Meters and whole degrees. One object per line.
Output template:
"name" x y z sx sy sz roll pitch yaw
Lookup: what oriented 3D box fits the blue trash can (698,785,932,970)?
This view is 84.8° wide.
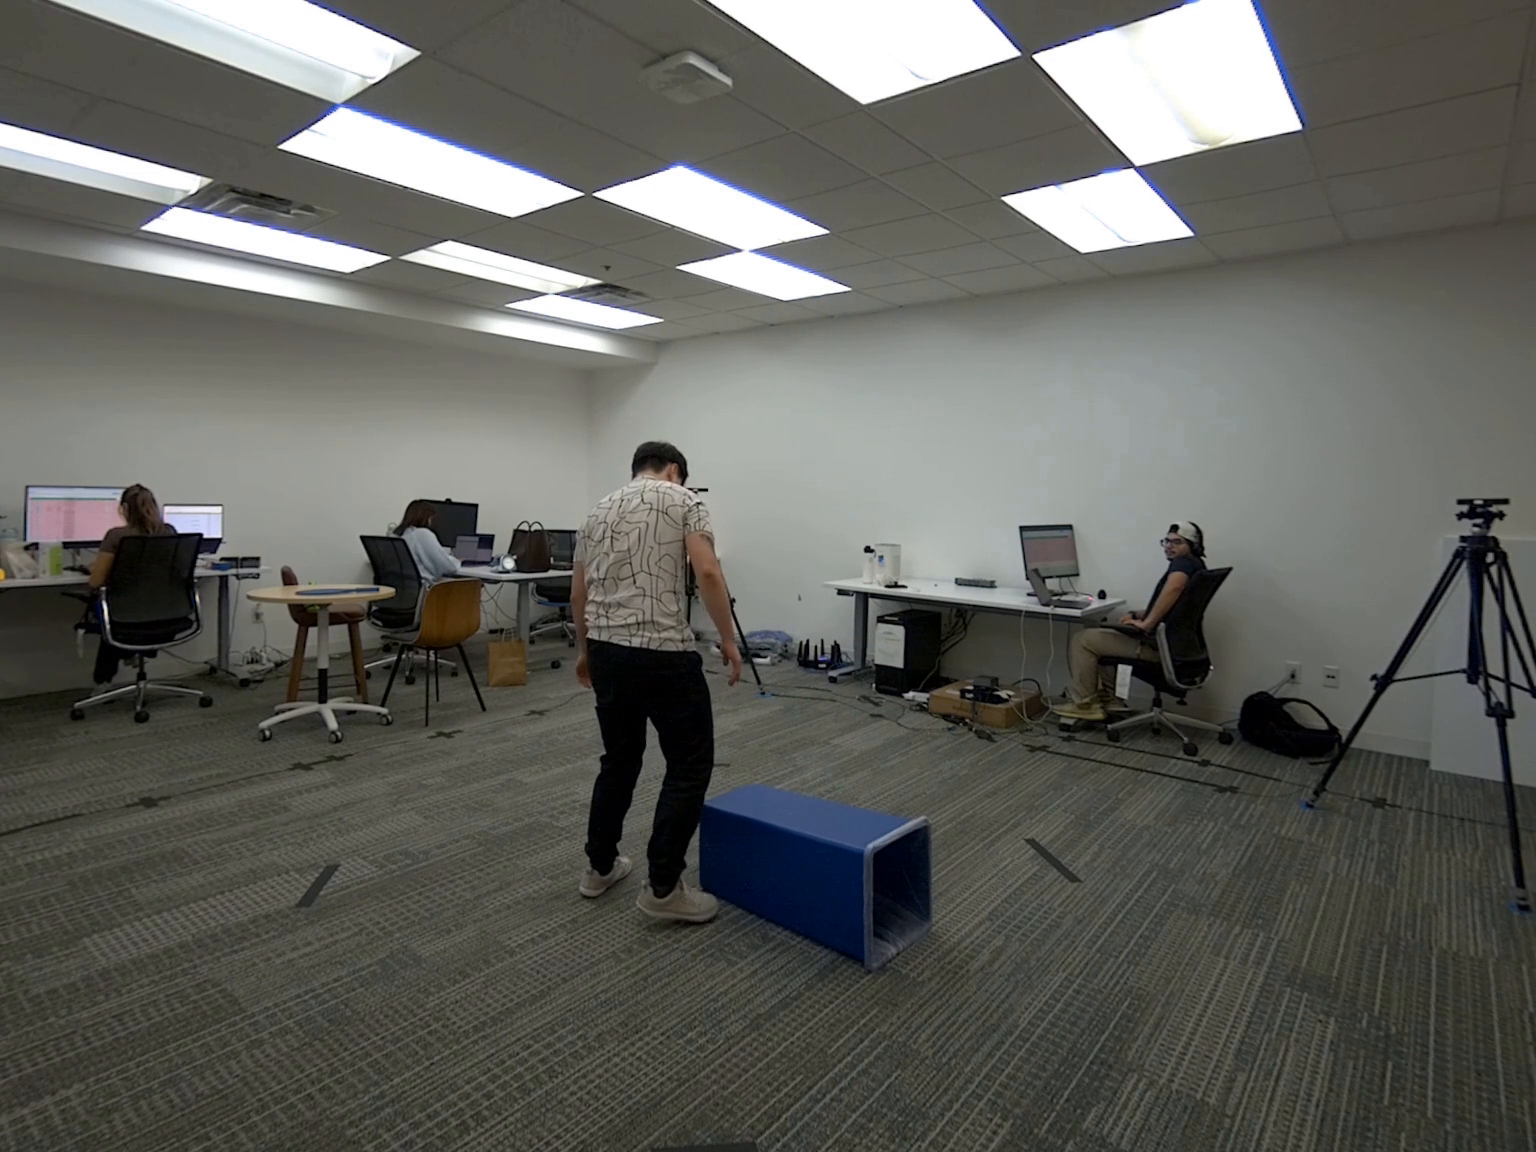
"blue trash can" 0.125 0.932 2.820 0.737 0.377 0.363 3 5 41
